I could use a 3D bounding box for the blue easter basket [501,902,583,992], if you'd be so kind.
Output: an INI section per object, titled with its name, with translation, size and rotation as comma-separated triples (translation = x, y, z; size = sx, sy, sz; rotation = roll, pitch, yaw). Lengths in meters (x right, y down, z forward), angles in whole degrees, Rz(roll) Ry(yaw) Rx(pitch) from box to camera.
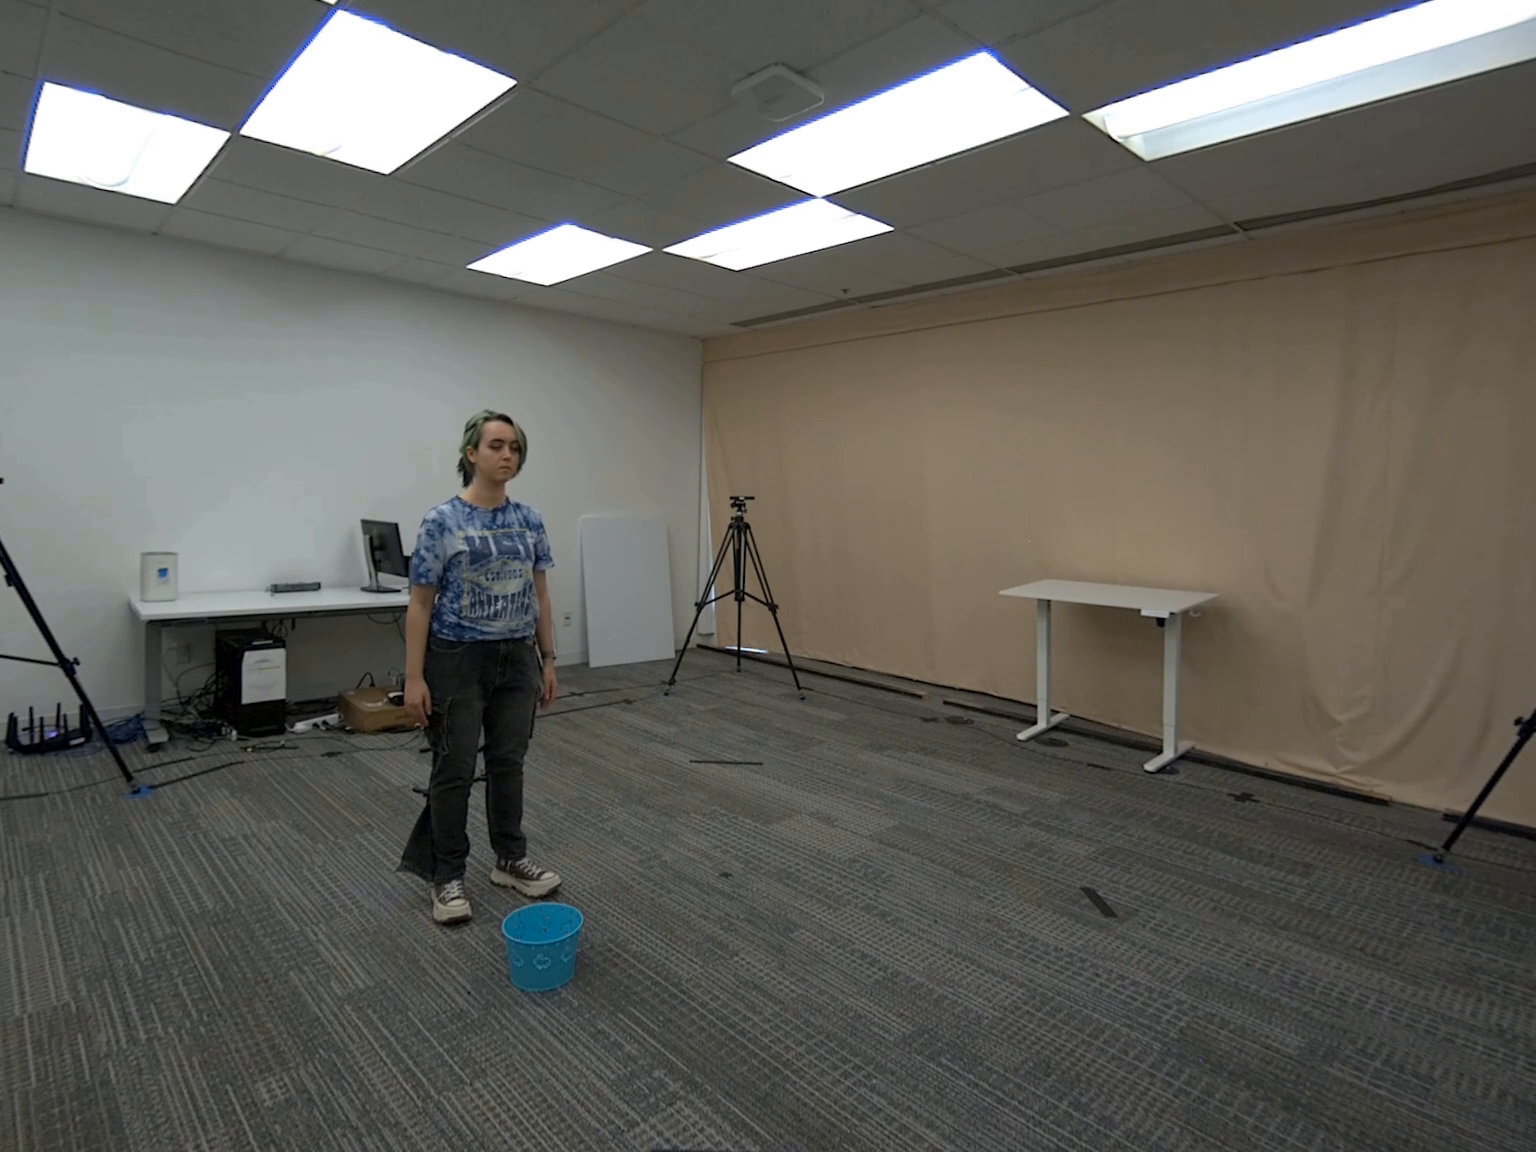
[blue easter basket]
translation = -0.656, 1.078, 2.436
size = 0.243, 0.155, 0.244
rotation = 2, 5, -2
